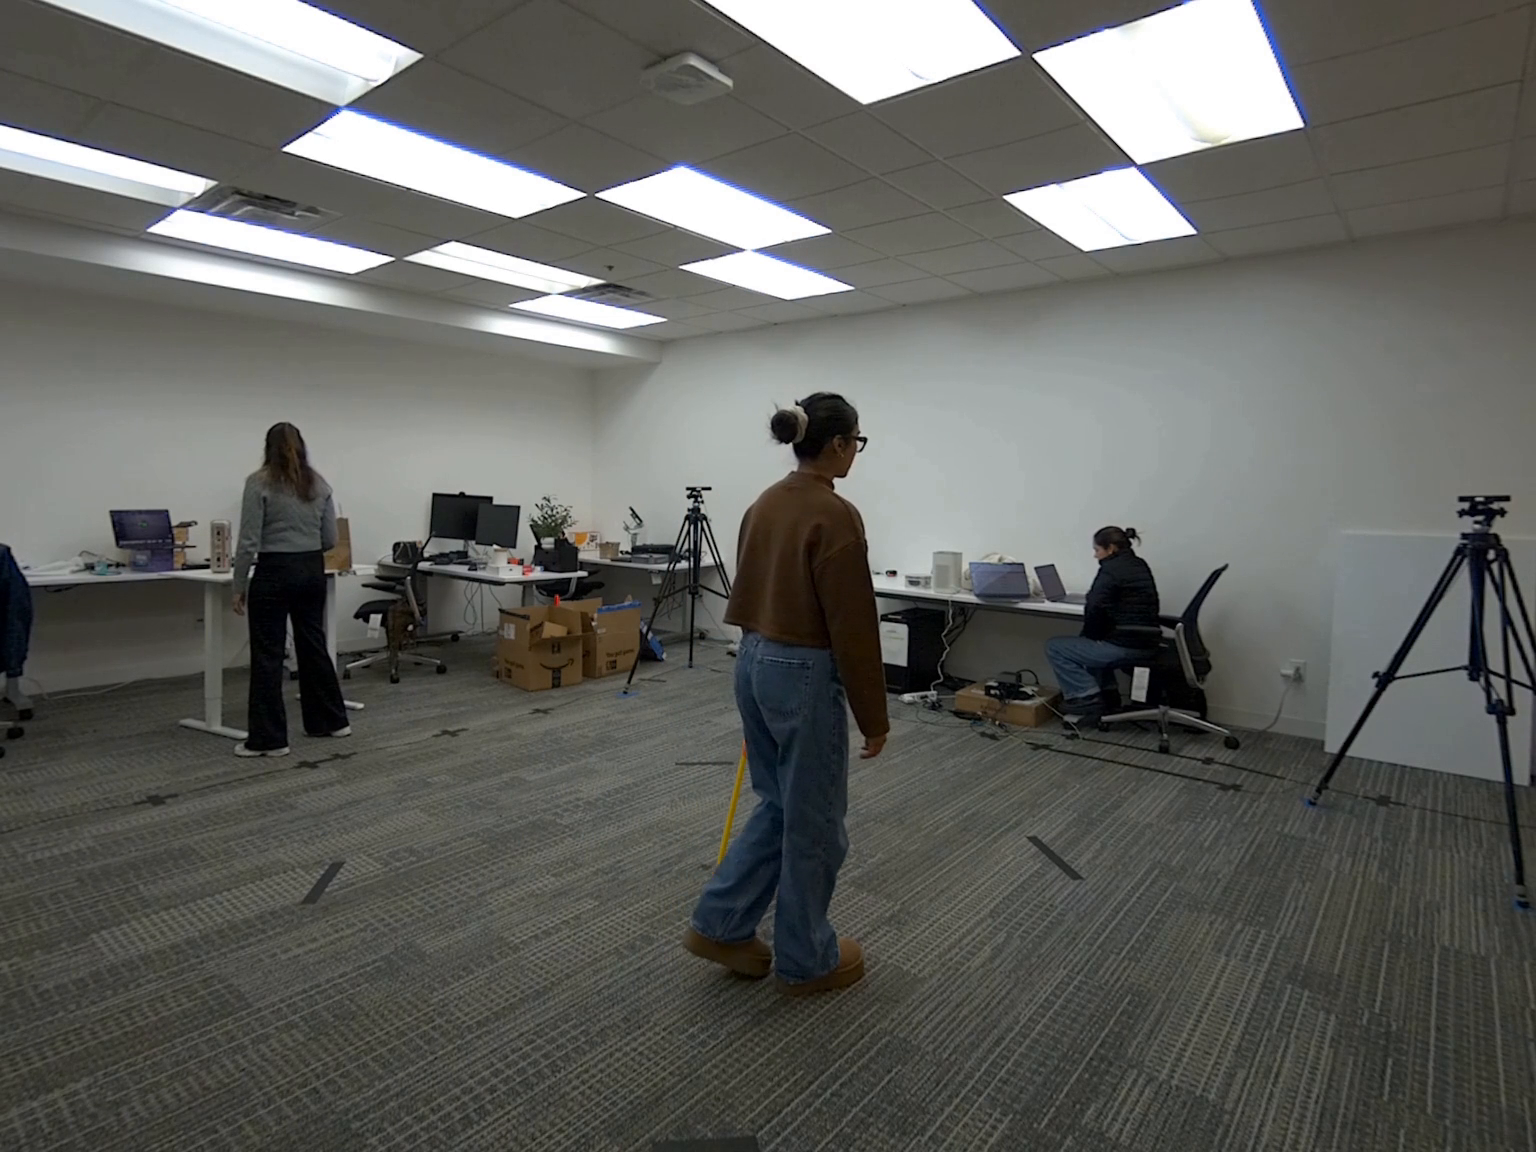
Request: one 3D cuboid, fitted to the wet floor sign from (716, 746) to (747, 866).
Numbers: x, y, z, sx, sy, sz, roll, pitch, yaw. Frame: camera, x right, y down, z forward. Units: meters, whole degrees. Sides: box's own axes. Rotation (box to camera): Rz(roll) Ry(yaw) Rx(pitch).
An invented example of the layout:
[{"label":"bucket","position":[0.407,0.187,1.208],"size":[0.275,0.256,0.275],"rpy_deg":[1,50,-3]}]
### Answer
[{"label":"wet floor sign","position":[-0.045,0.751,3.010],"size":[0.291,0.643,0.283],"rpy_deg":[2,5,2]}]
